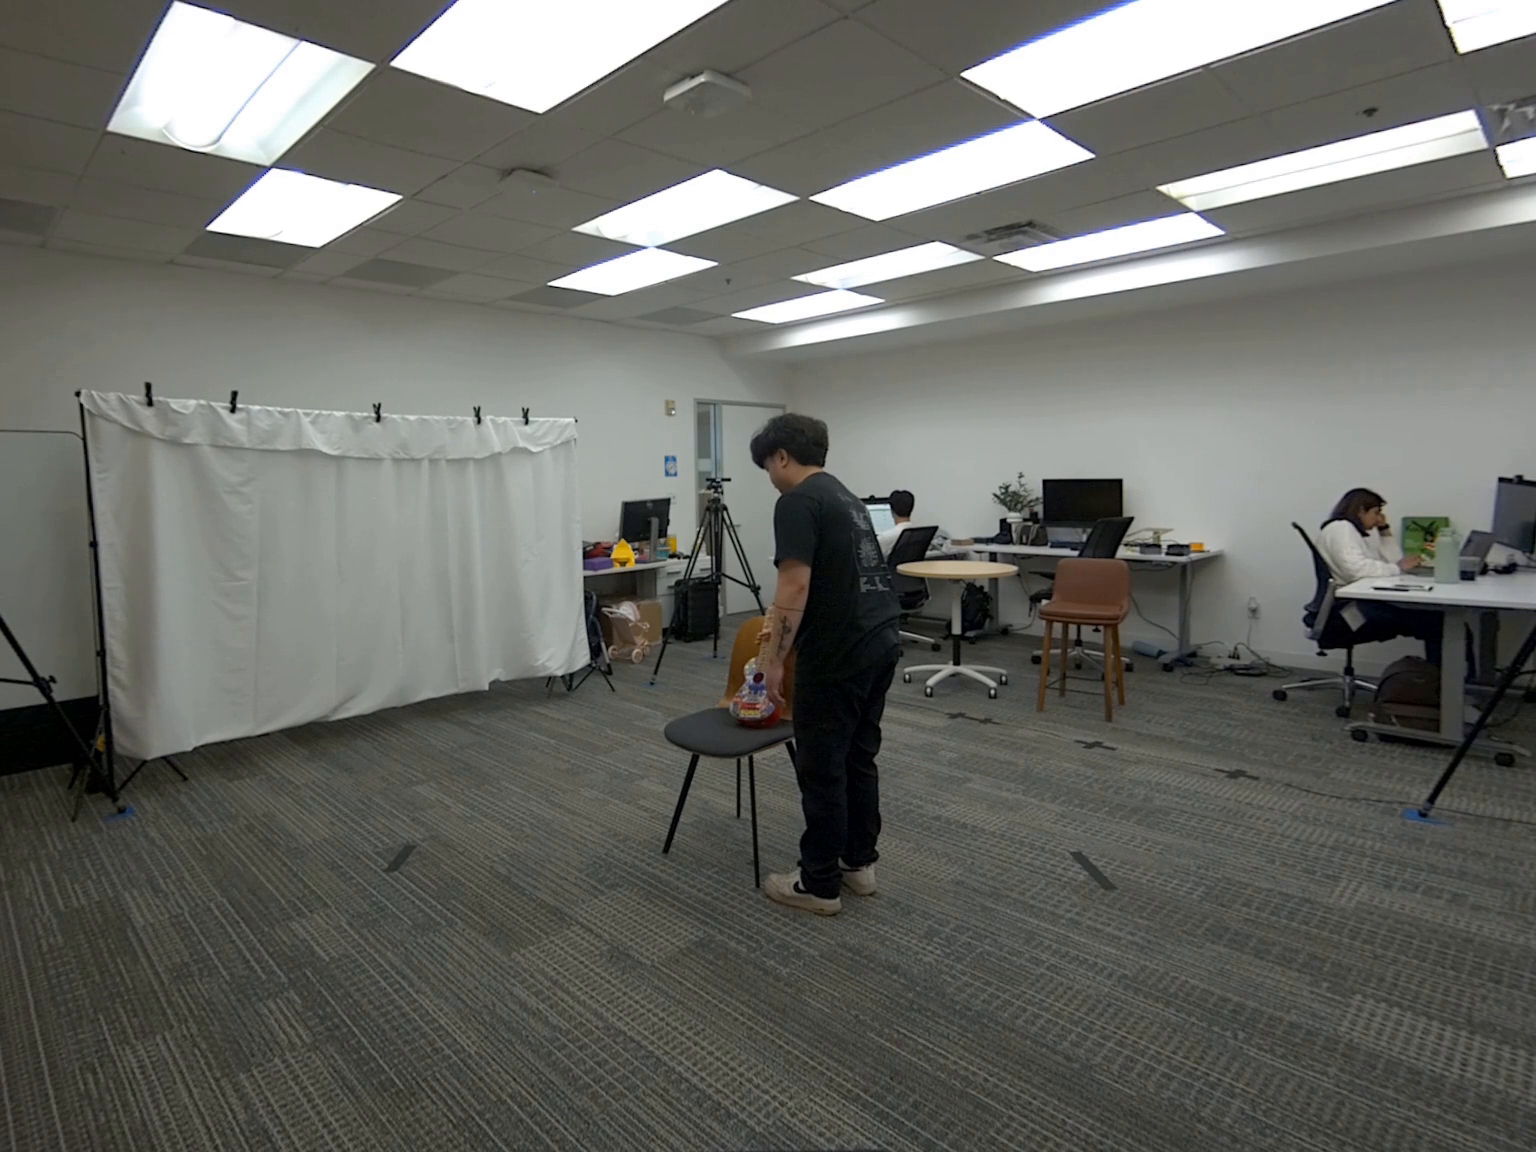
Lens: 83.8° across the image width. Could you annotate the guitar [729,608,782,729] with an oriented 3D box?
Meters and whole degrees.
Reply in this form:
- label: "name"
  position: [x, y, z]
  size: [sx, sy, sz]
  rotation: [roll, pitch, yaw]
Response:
- label: "guitar"
  position: [0.002, 0.339, 3.274]
  size: [0.198, 0.504, 0.068]
  rotation: [1, -32, 31]
